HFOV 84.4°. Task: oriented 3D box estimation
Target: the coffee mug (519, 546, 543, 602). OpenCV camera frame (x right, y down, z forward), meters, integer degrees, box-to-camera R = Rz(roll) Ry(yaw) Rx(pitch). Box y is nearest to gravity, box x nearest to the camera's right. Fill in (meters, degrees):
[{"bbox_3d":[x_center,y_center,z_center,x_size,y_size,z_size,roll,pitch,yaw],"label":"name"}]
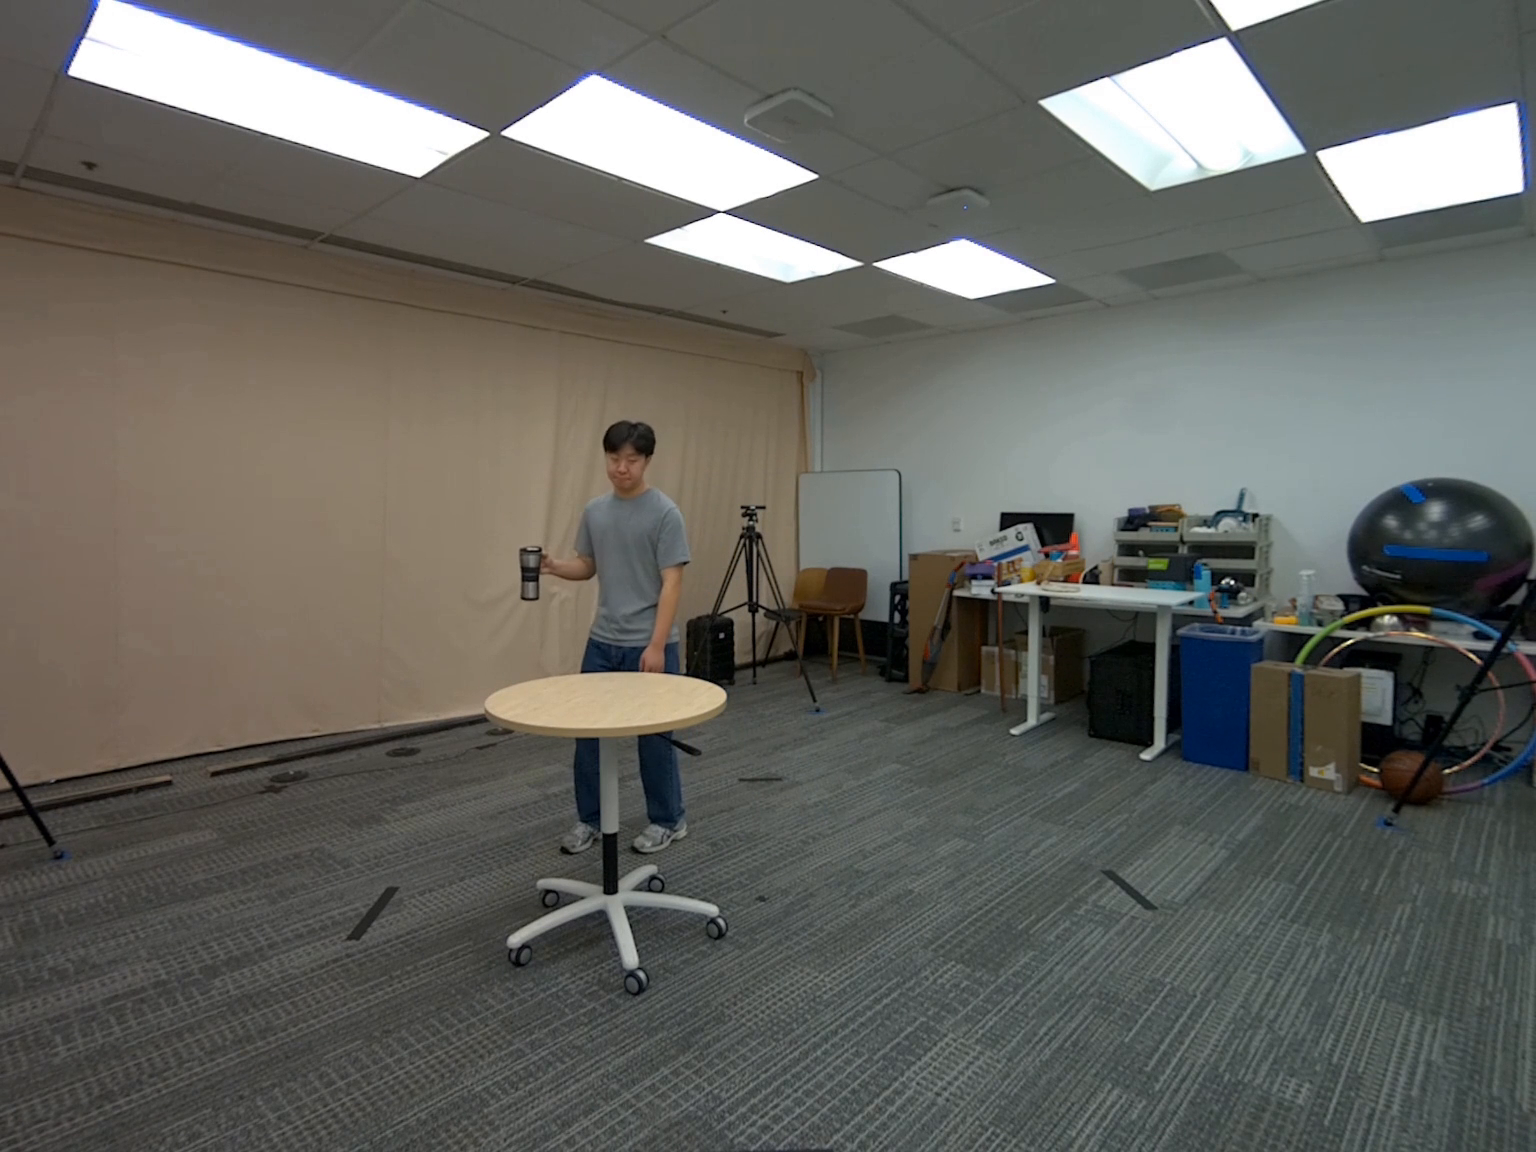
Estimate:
[{"bbox_3d":[-0.896,-0.012,3.304,0.091,0.202,0.119,6,10,35],"label":"coffee mug"}]
